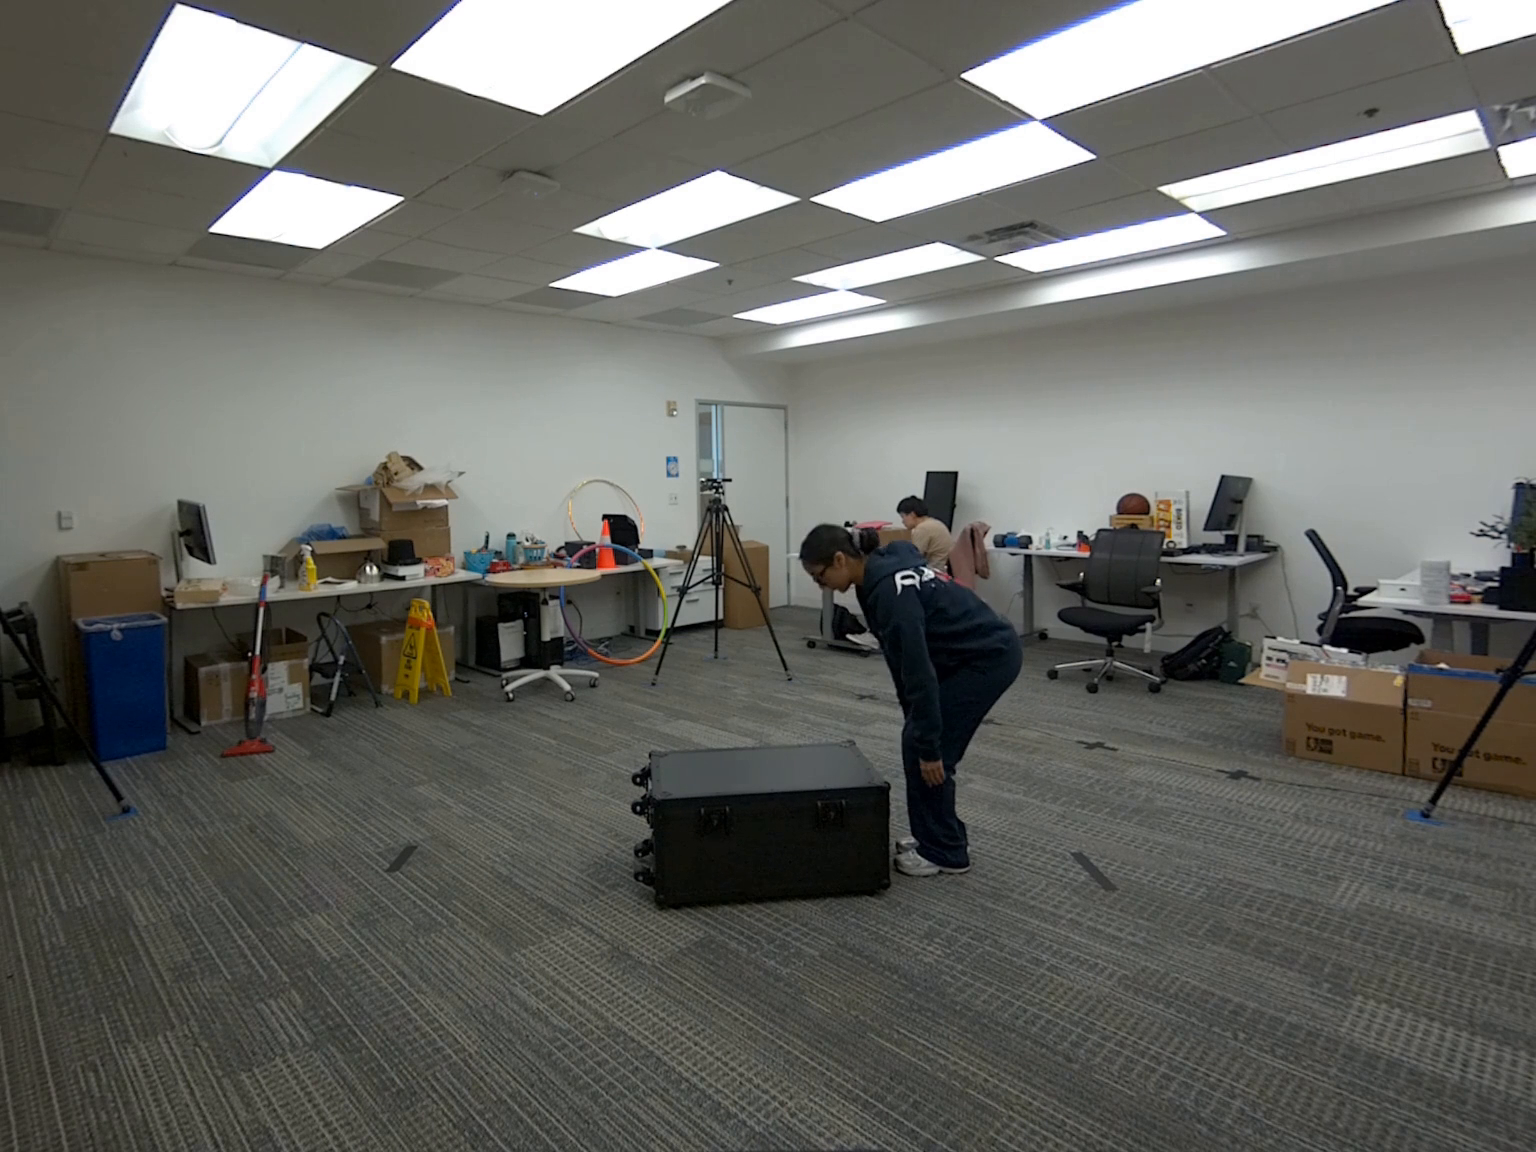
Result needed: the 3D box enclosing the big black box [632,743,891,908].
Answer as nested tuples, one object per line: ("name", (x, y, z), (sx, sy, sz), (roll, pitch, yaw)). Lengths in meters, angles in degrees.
("big black box", (-0.051, 0.855, 3.026), (0.856, 0.395, 0.527), (0, 5, -7))
